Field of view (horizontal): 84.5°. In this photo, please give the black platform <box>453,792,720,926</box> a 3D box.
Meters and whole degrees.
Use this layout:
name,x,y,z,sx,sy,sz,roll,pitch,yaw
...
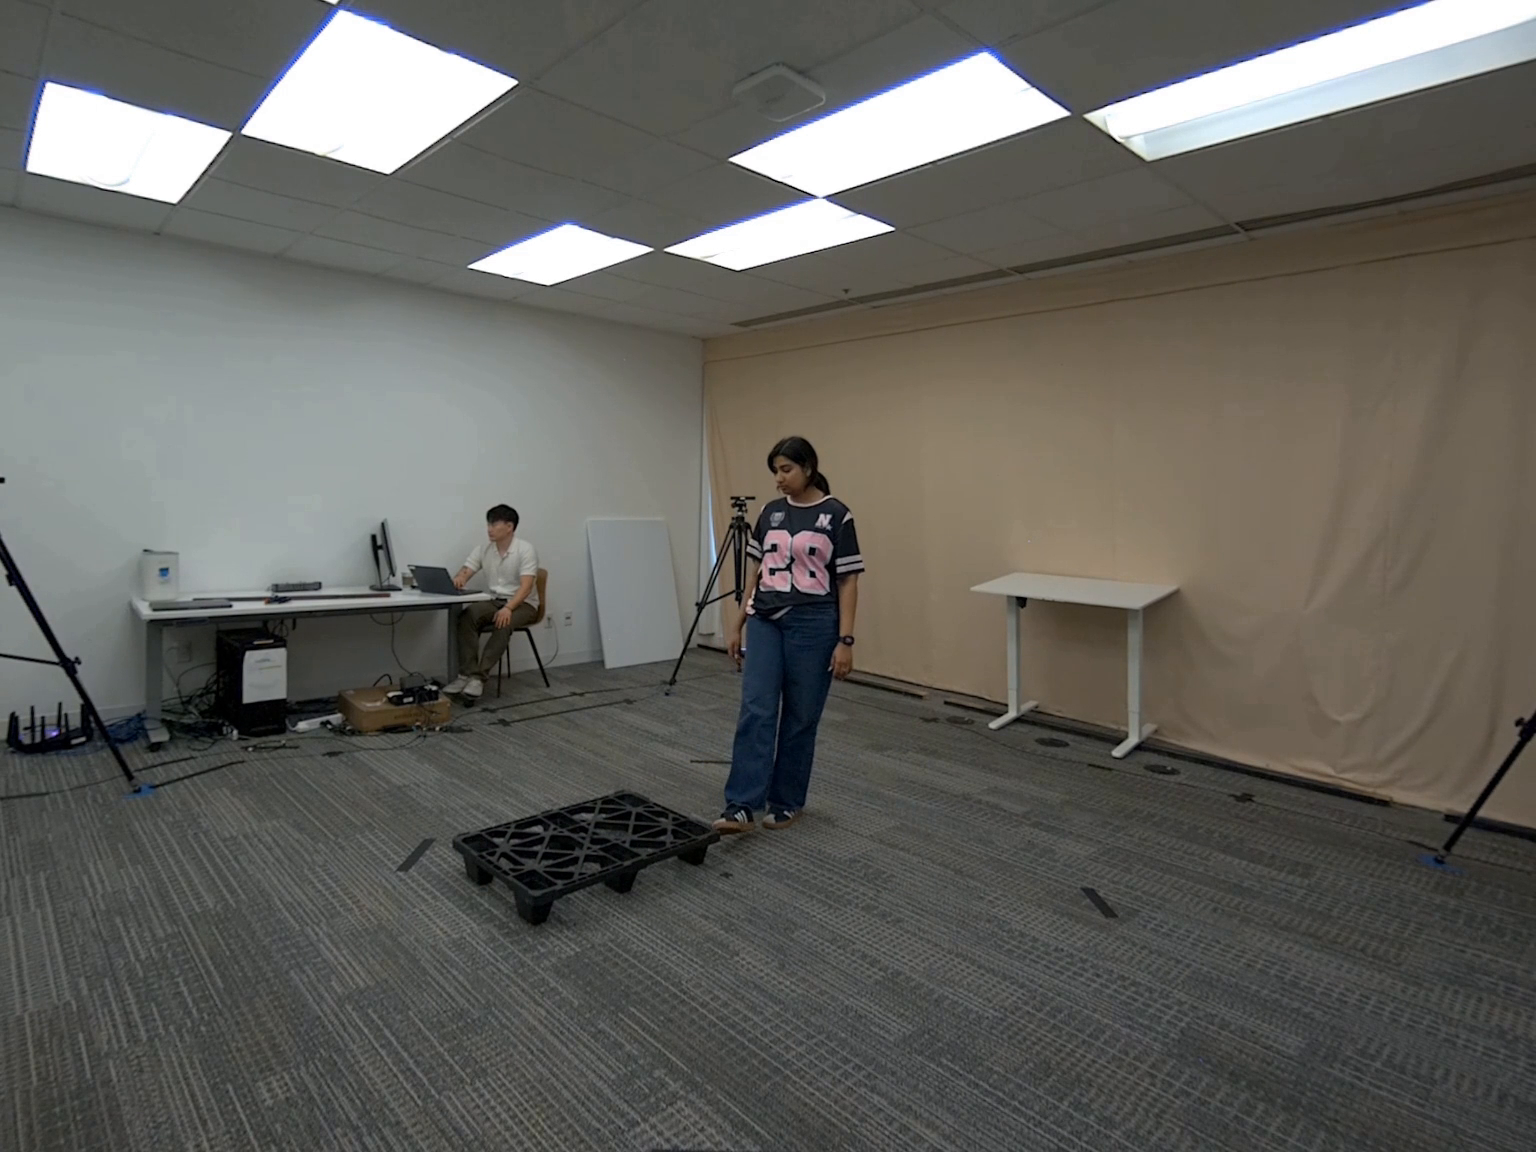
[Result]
name,x,y,z,sx,sy,sz,roll,pitch,yaw
black platform,-0.665,1.025,3.118,0.787,0.143,0.621,-4,8,-45
